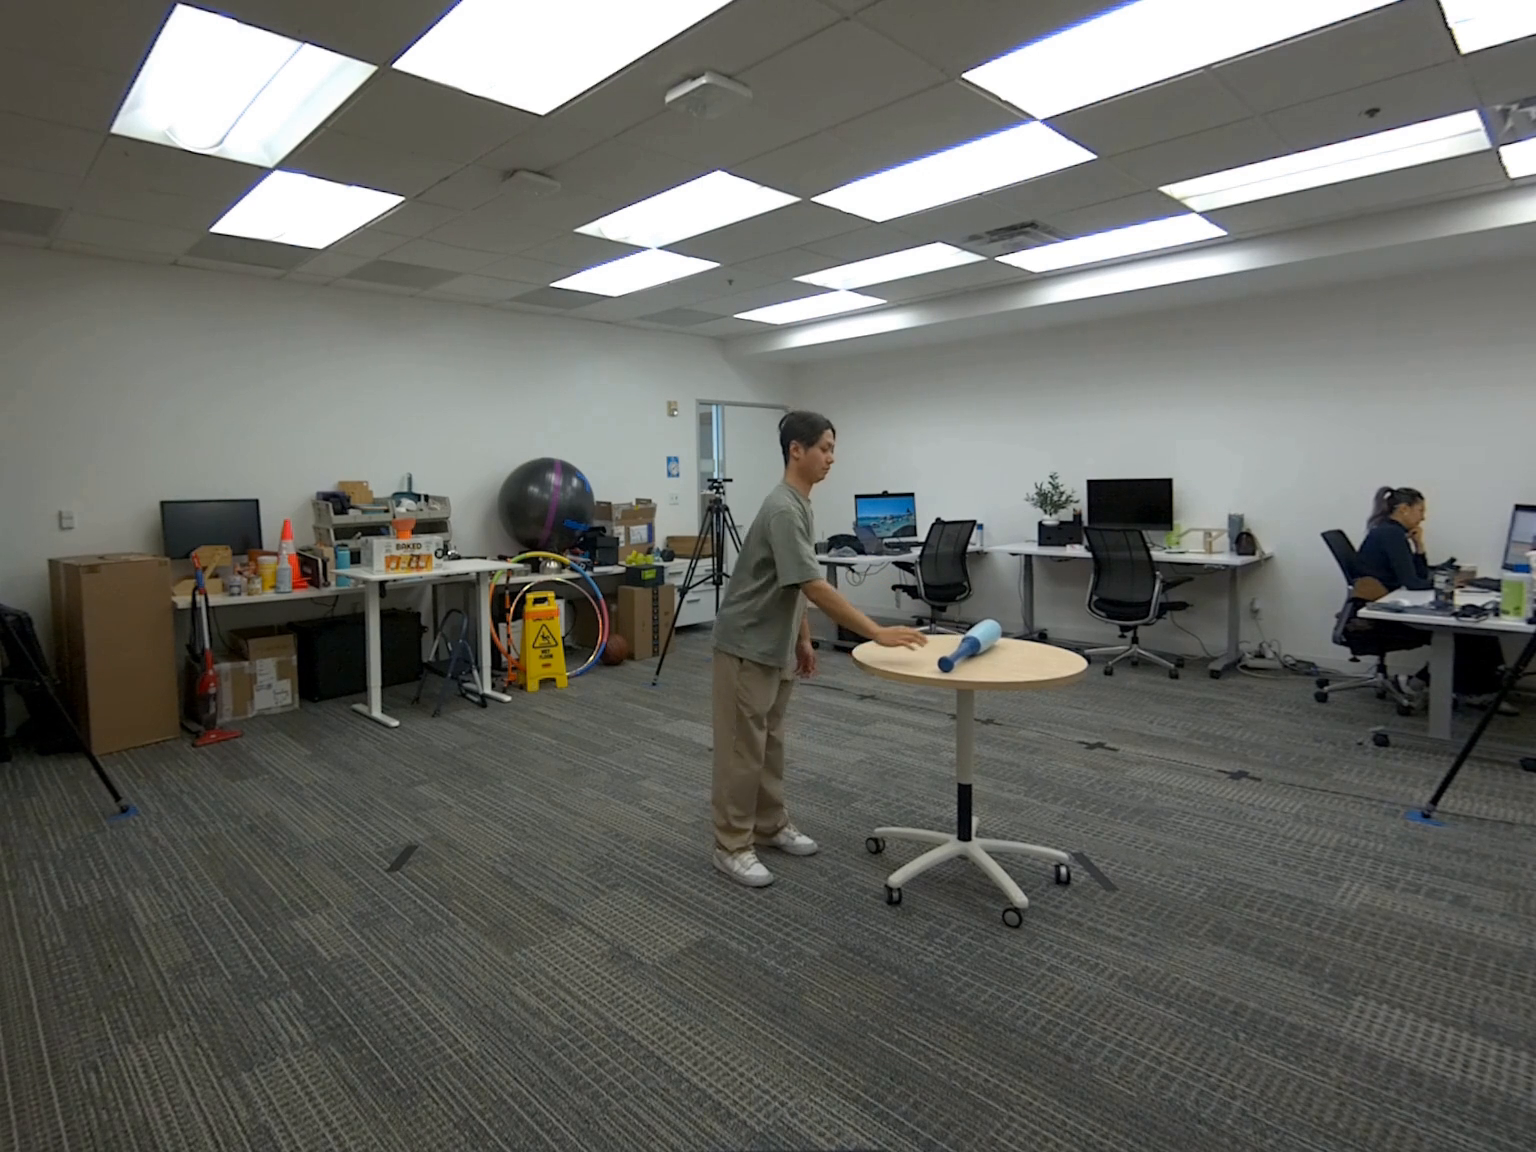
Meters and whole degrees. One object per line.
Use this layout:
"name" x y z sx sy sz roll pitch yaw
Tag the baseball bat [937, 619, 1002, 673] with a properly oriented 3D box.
"baseball bat" 0.669 0.237 2.874 0.091 0.088 0.533 2 10 28
